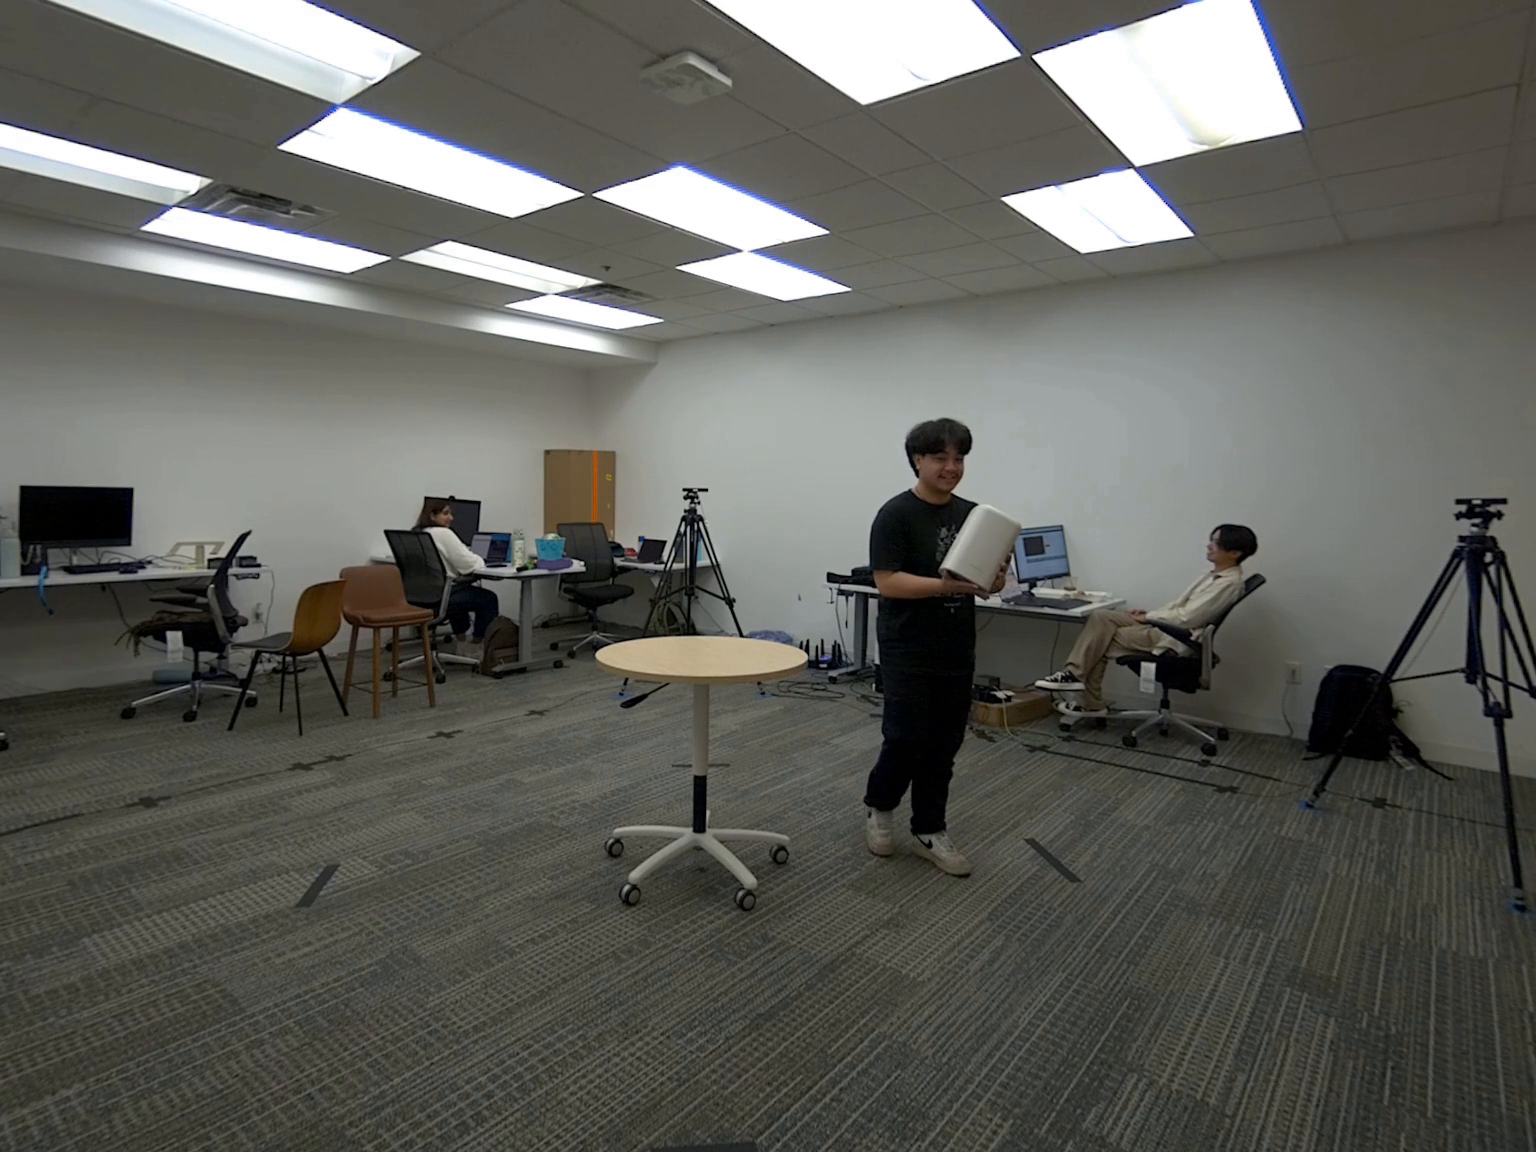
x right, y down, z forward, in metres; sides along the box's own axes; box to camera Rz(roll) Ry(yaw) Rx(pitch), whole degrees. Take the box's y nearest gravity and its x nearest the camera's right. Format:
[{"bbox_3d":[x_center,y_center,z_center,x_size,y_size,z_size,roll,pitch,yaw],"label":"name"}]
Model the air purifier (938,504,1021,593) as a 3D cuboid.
[{"bbox_3d":[0.720,-0.098,2.908,0.173,0.266,0.170,29,-5,5],"label":"air purifier"}]
